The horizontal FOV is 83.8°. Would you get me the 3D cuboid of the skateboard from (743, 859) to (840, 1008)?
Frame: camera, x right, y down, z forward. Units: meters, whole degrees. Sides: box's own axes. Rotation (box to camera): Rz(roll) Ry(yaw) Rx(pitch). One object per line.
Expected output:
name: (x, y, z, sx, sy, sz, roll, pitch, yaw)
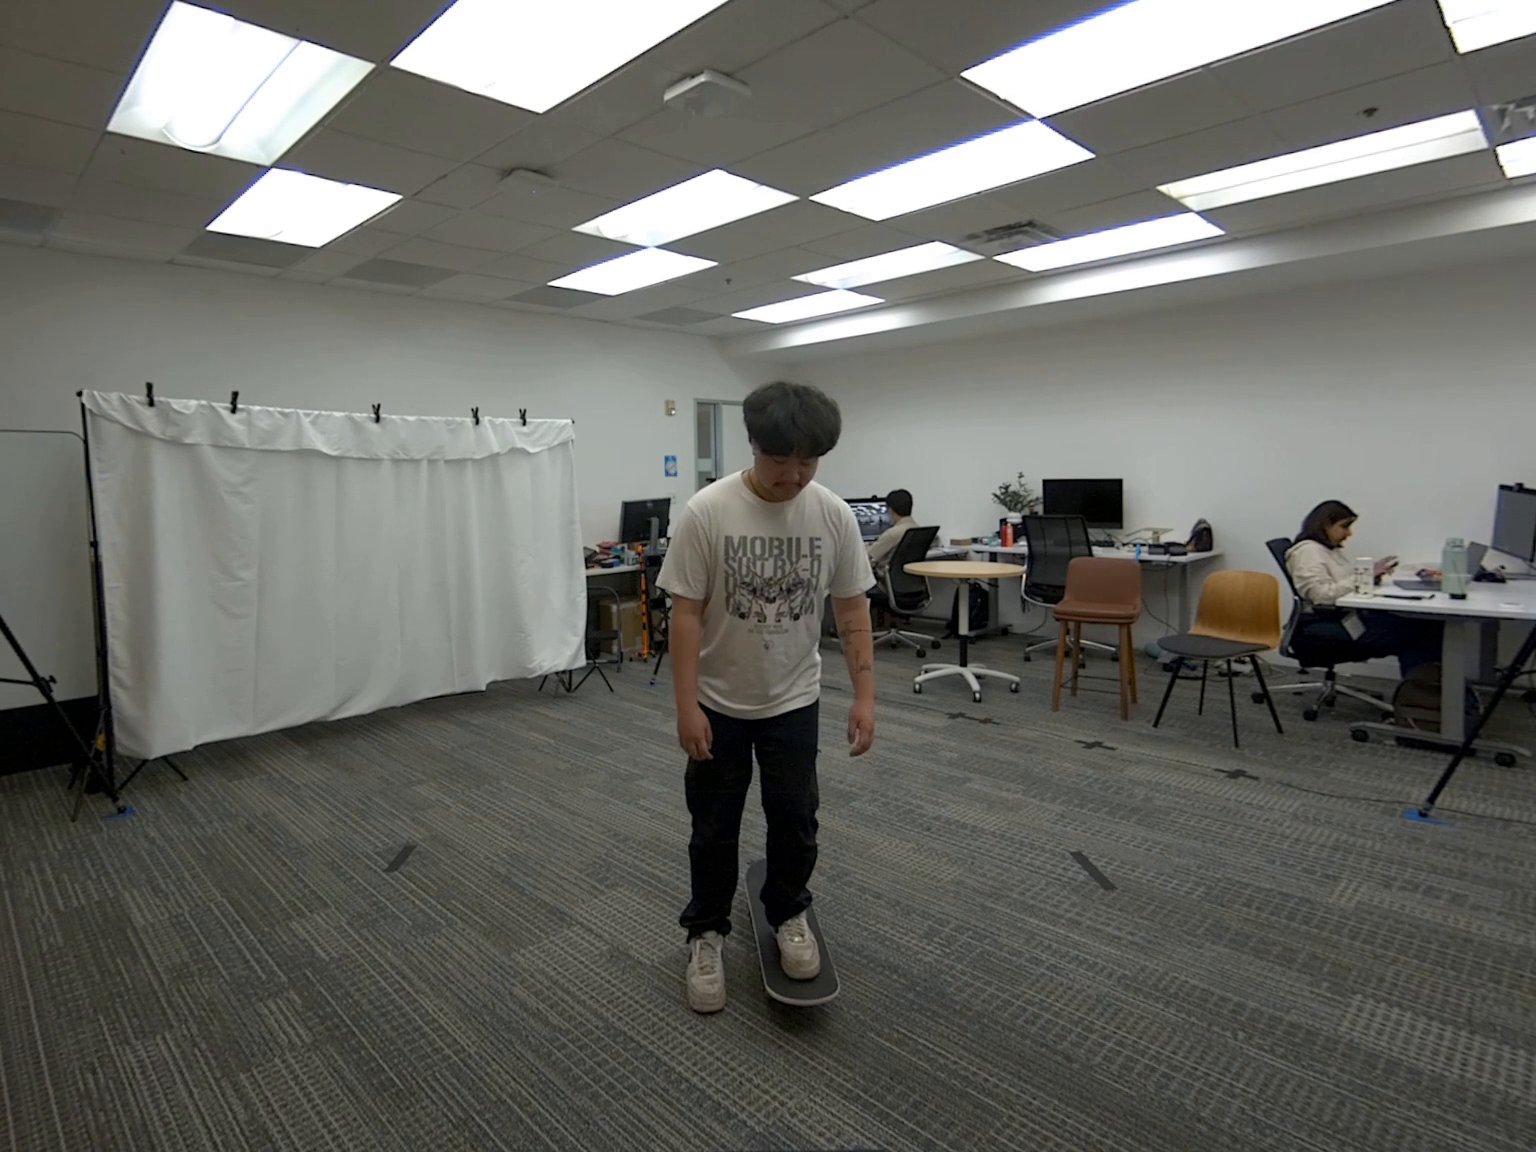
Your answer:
skateboard: (0.060, 1.050, 2.513, 0.192, 0.110, 0.792, -1, 6, -6)
